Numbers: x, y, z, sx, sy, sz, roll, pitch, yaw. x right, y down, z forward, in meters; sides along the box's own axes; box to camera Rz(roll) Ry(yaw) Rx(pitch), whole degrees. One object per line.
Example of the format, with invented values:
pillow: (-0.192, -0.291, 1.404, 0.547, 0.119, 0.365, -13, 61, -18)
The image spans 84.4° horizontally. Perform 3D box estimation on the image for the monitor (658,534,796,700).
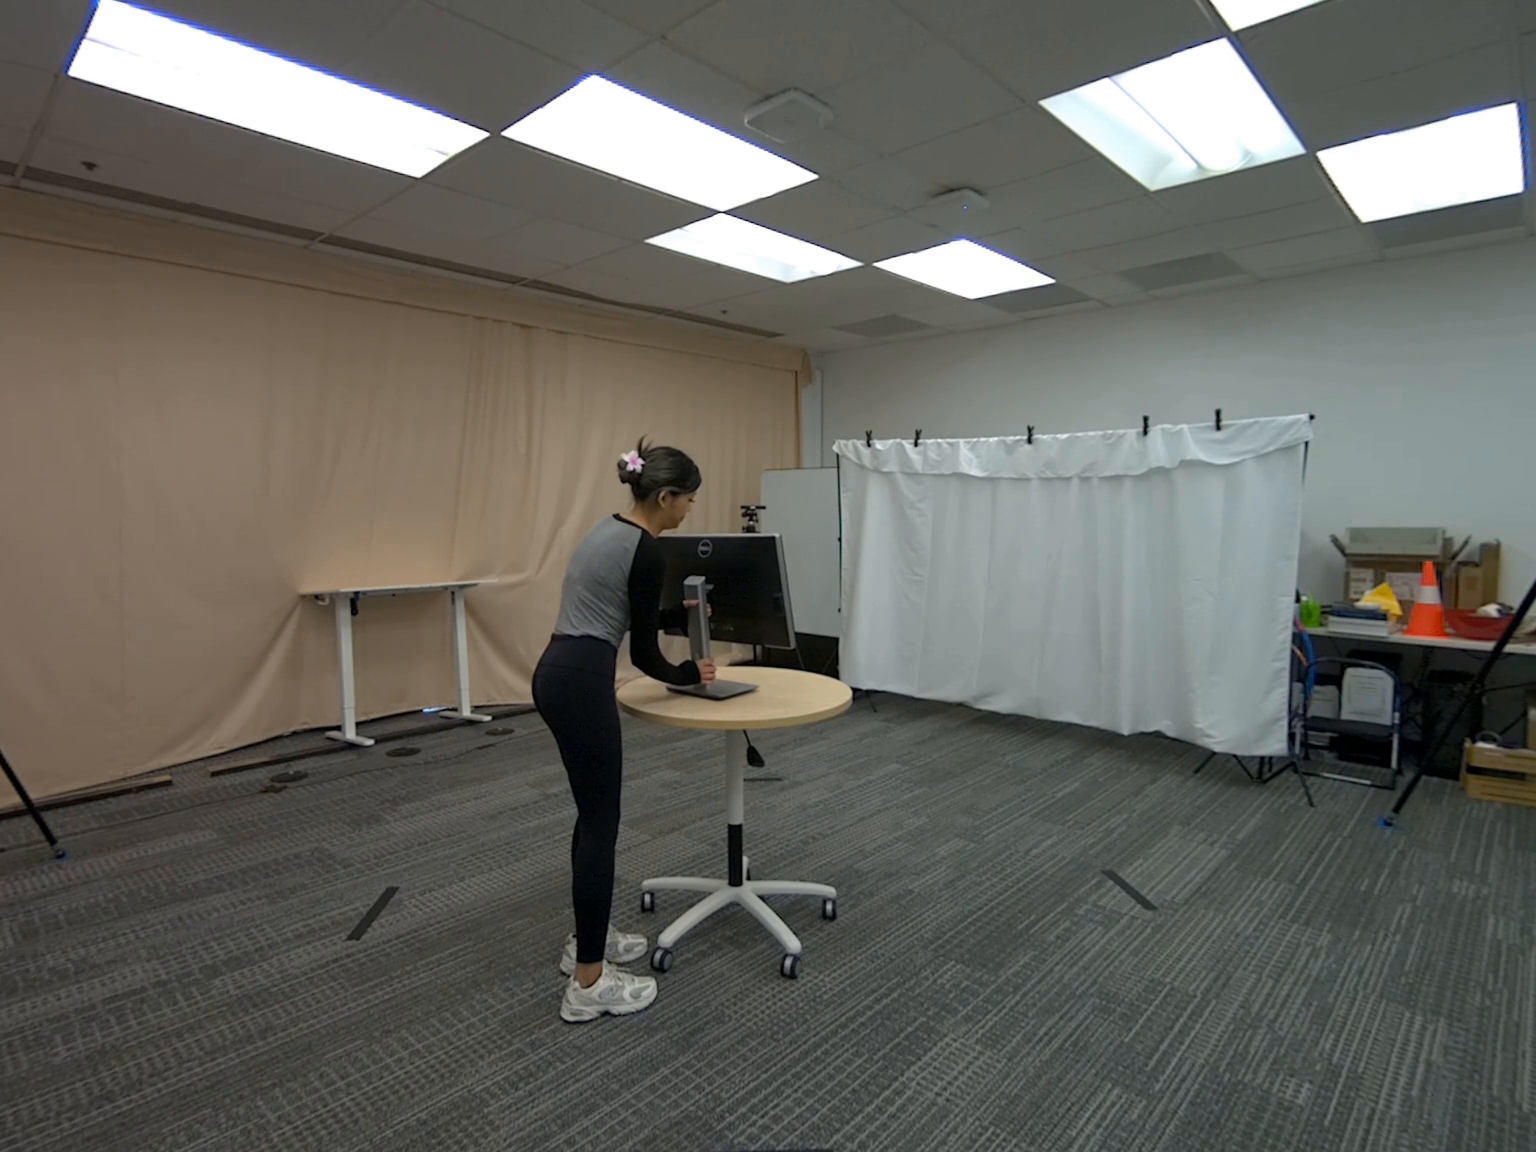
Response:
monitor: (-0.185, 0.126, 2.724, 0.556, 0.522, 0.181, 2, 2, 38)
